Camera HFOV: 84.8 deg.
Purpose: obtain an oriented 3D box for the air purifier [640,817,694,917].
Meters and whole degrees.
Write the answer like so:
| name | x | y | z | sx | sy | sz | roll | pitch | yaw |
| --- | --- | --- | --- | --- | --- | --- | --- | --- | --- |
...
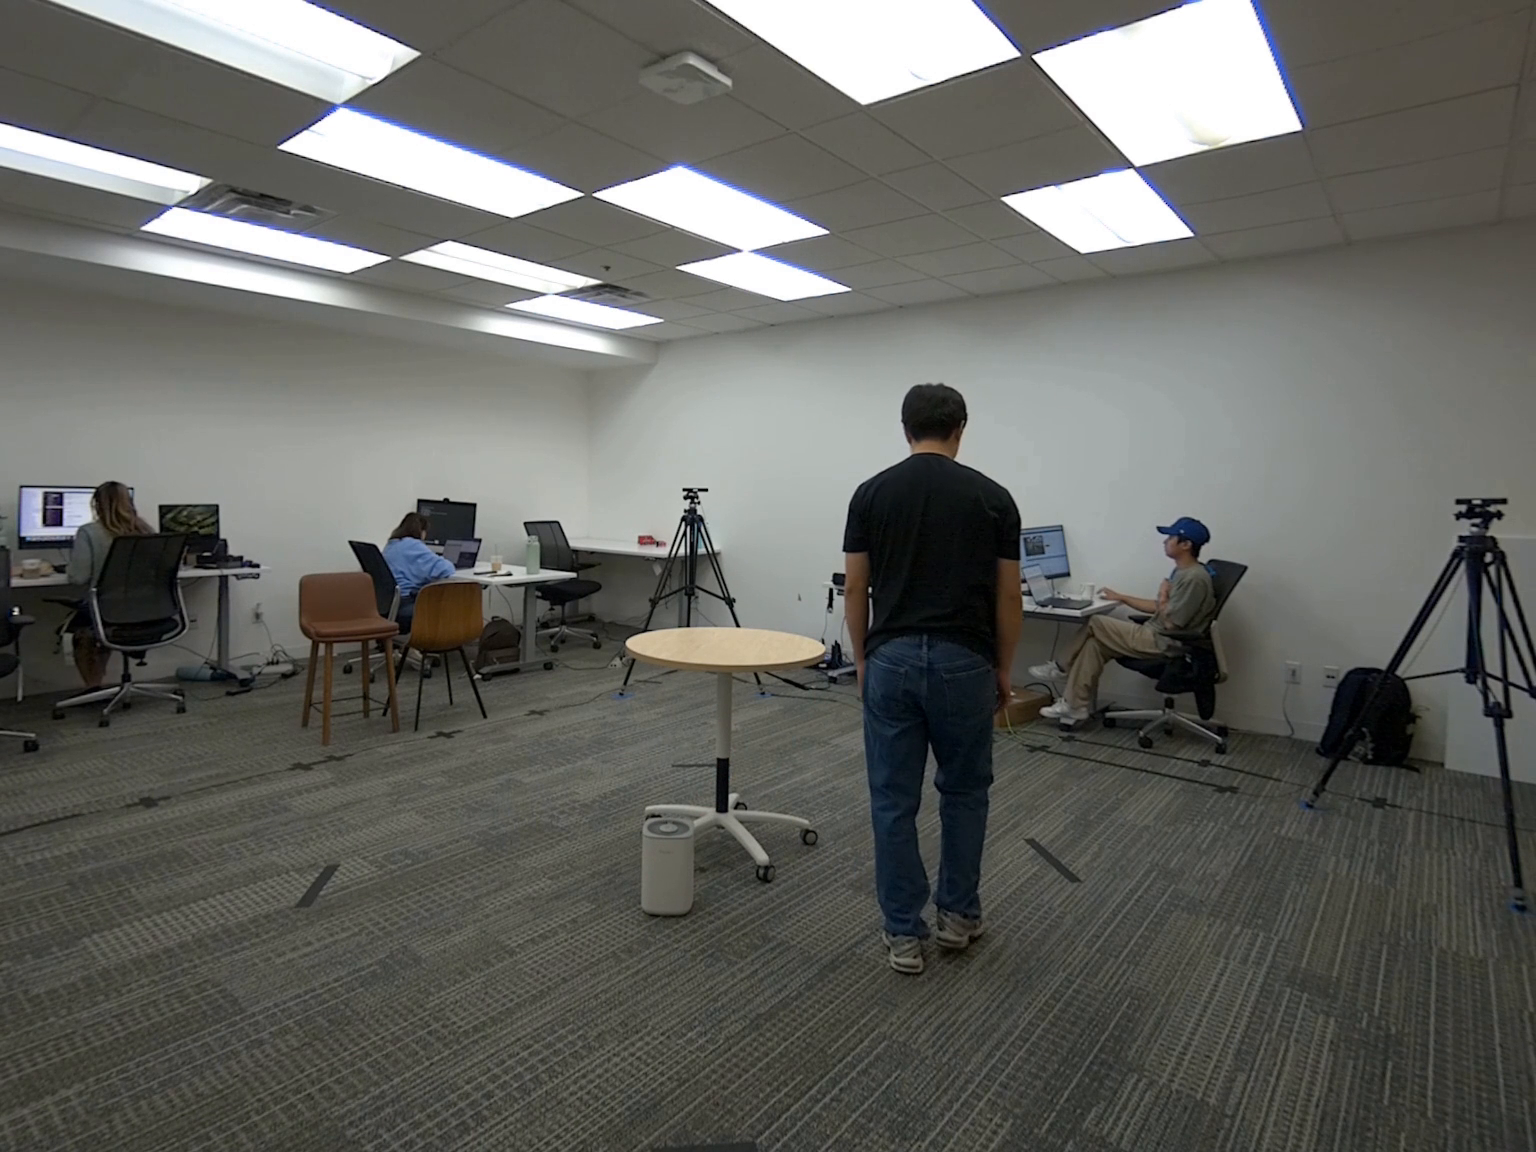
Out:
| name | x | y | z | sx | sy | sz | roll | pitch | yaw |
| --- | --- | --- | --- | --- | --- | --- | --- | --- | --- |
| air purifier | -0.338 | 0.960 | 2.820 | 0.171 | 0.264 | 0.172 | 0 | 3 | -2 |
